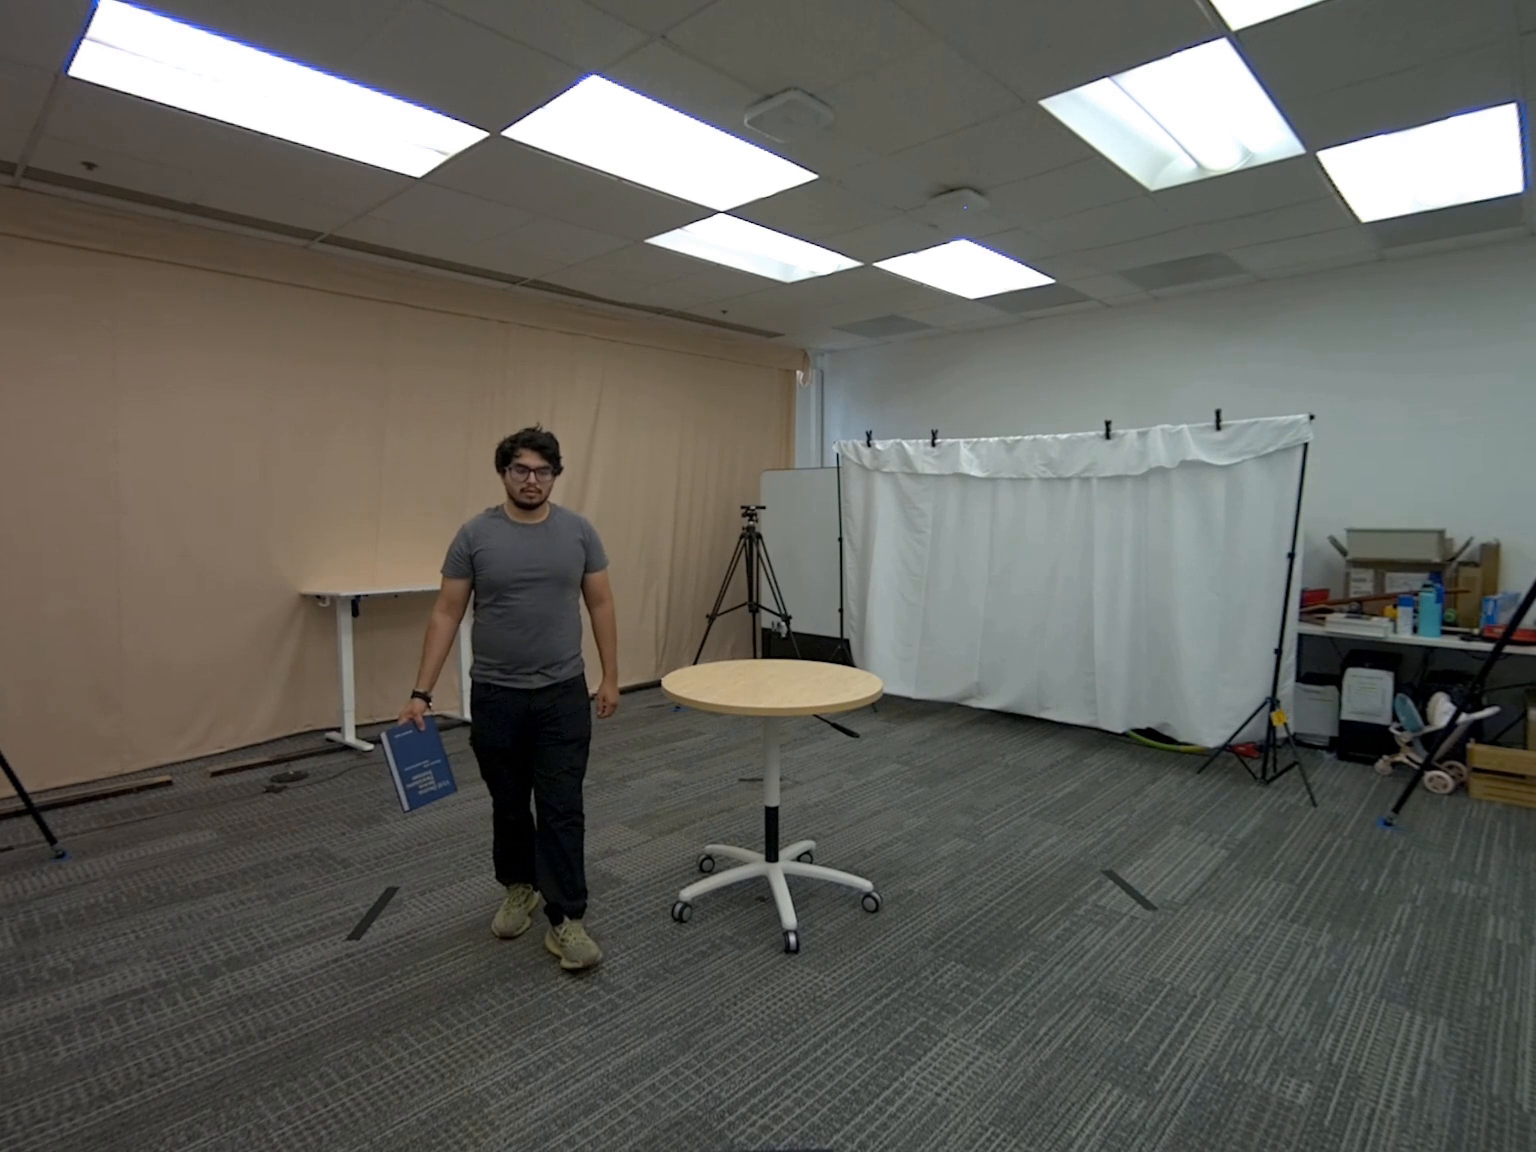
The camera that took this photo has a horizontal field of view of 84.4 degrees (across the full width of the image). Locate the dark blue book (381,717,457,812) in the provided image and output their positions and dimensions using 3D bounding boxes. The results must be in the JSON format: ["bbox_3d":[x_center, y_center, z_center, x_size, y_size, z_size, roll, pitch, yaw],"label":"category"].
[{"bbox_3d":[-1.044,0.554,2.499,0.046,0.246,0.159,-24,-7,38],"label":"dark blue book"}]
